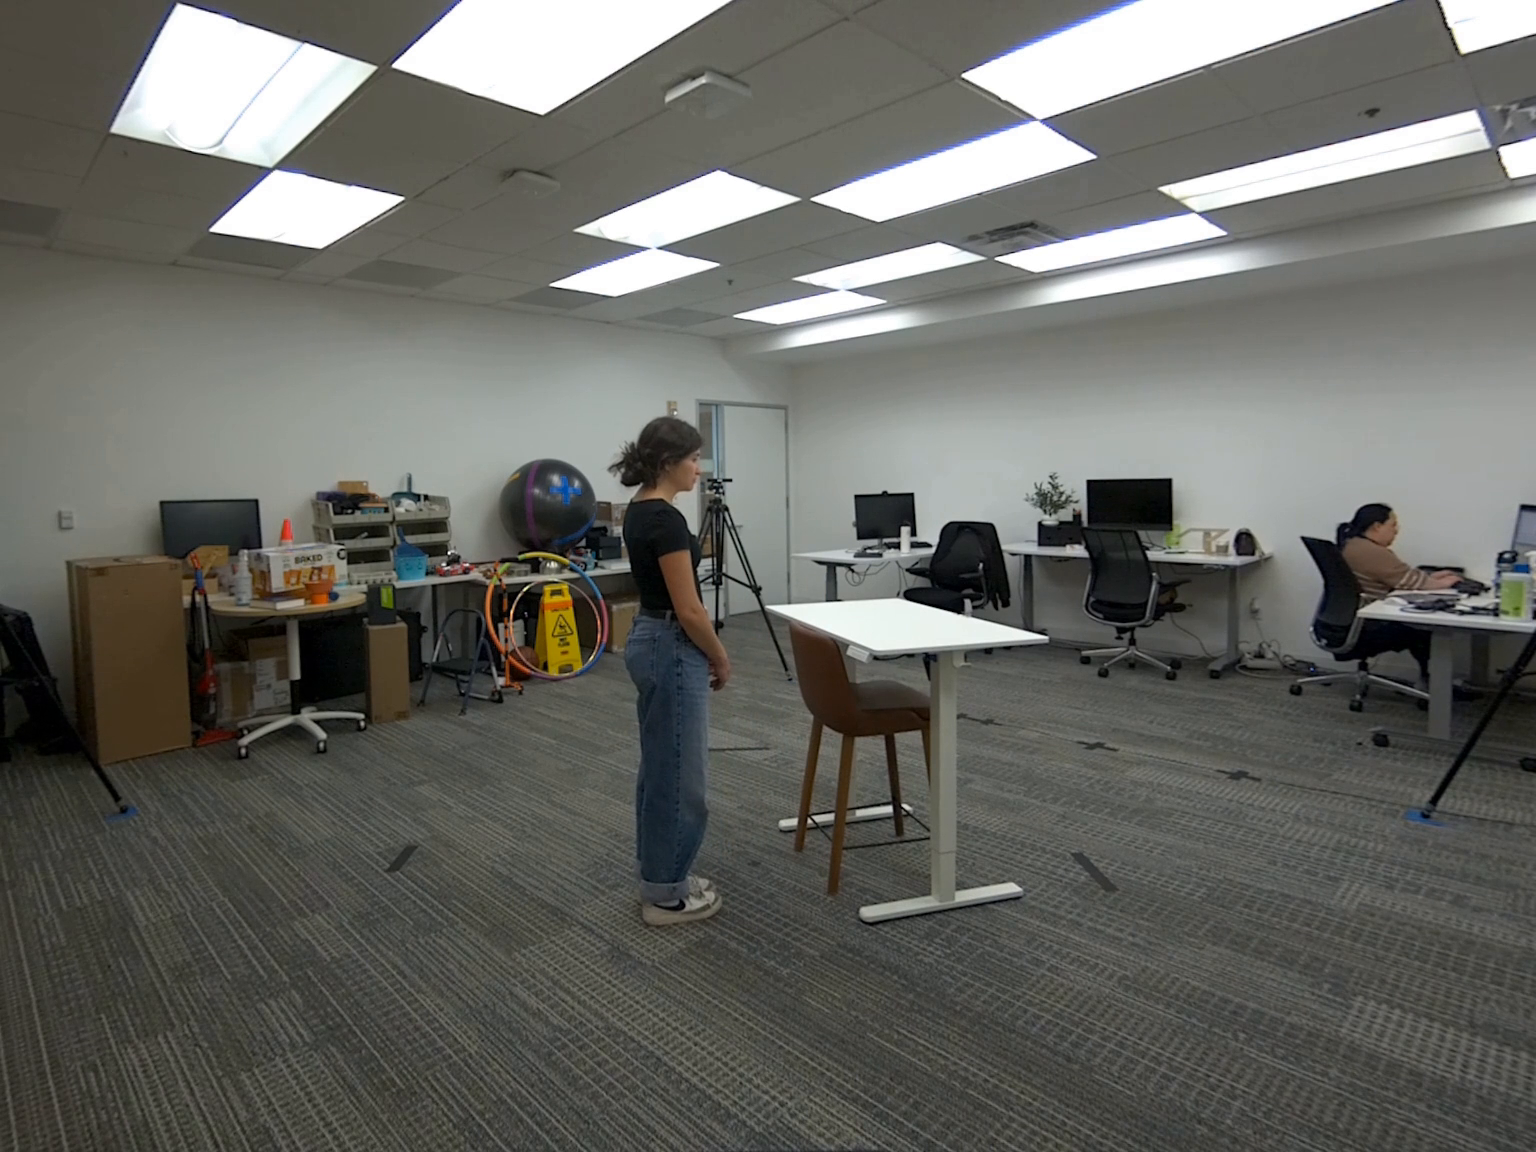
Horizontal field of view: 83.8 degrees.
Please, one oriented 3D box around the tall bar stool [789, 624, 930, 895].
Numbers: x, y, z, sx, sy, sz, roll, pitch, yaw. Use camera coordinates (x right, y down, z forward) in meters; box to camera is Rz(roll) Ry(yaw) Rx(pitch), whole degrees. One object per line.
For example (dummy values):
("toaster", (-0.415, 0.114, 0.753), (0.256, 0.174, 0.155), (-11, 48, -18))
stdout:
("tall bar stool", (0.350, 0.610, 3.068), (0.461, 0.886, 0.465), (-4, 5, -15))
